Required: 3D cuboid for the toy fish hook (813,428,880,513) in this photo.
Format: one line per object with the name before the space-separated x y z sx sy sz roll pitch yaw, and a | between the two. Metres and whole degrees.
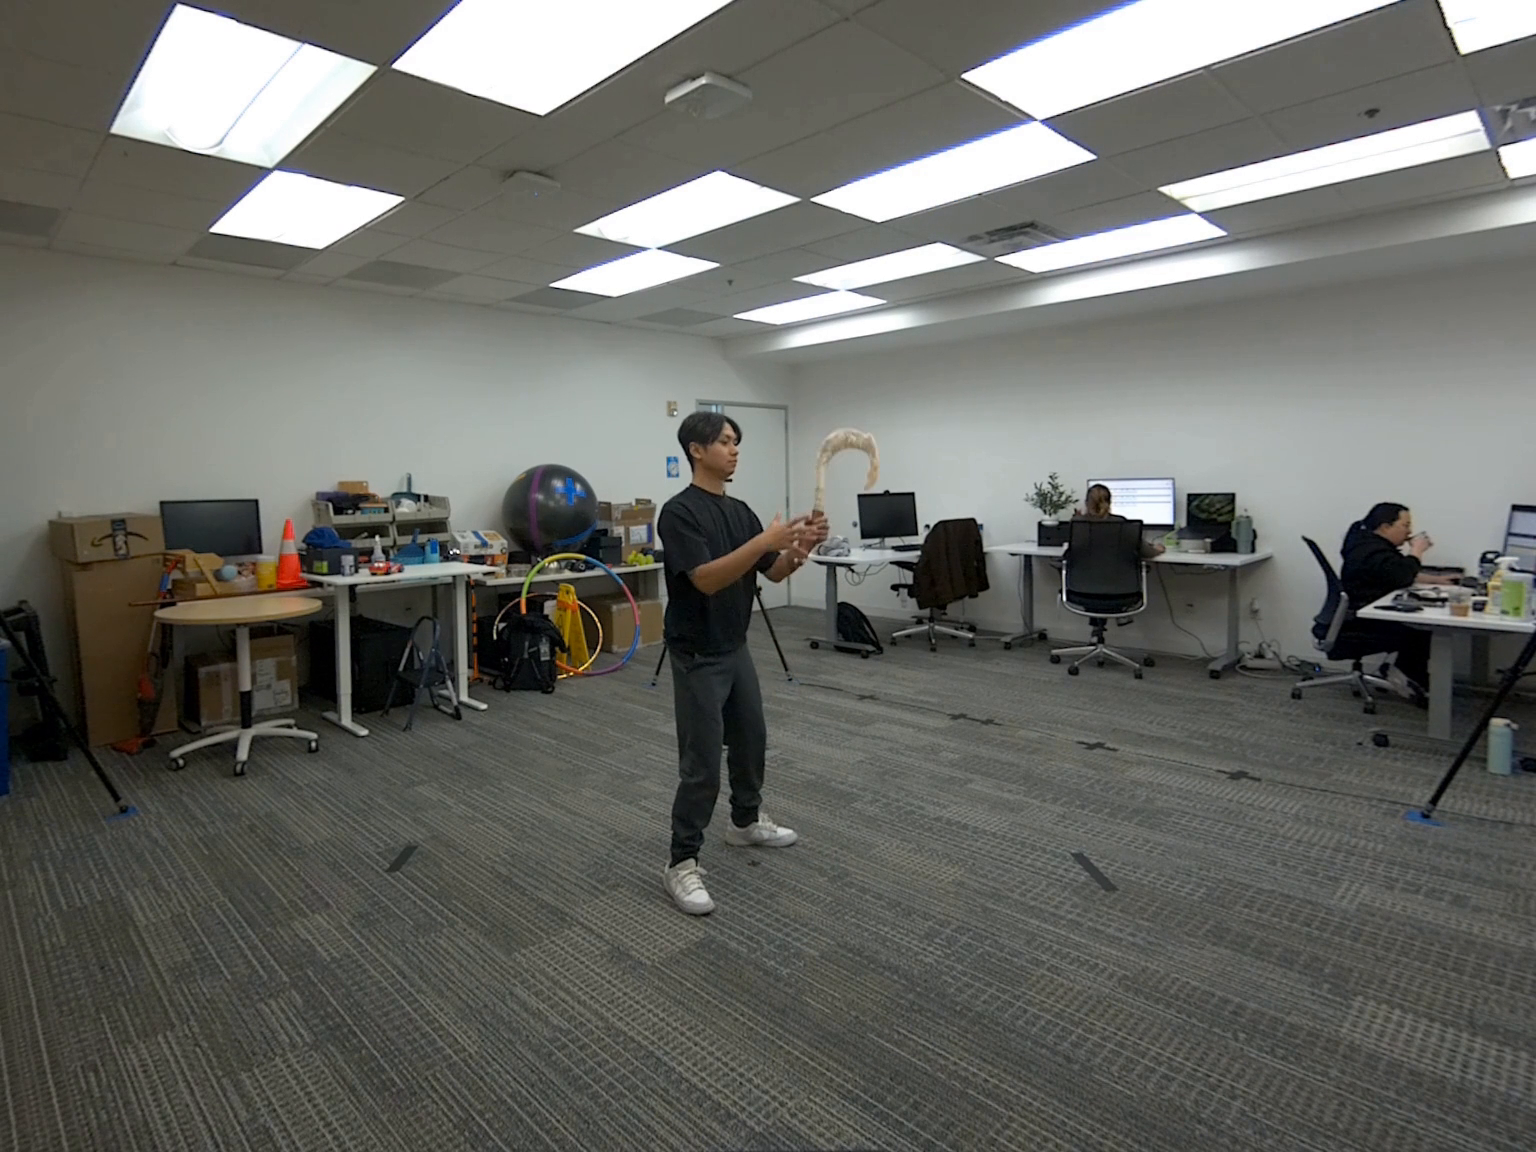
toy fish hook | 0.233 -0.238 2.915 0.231 0.507 0.047 19 -2 23
